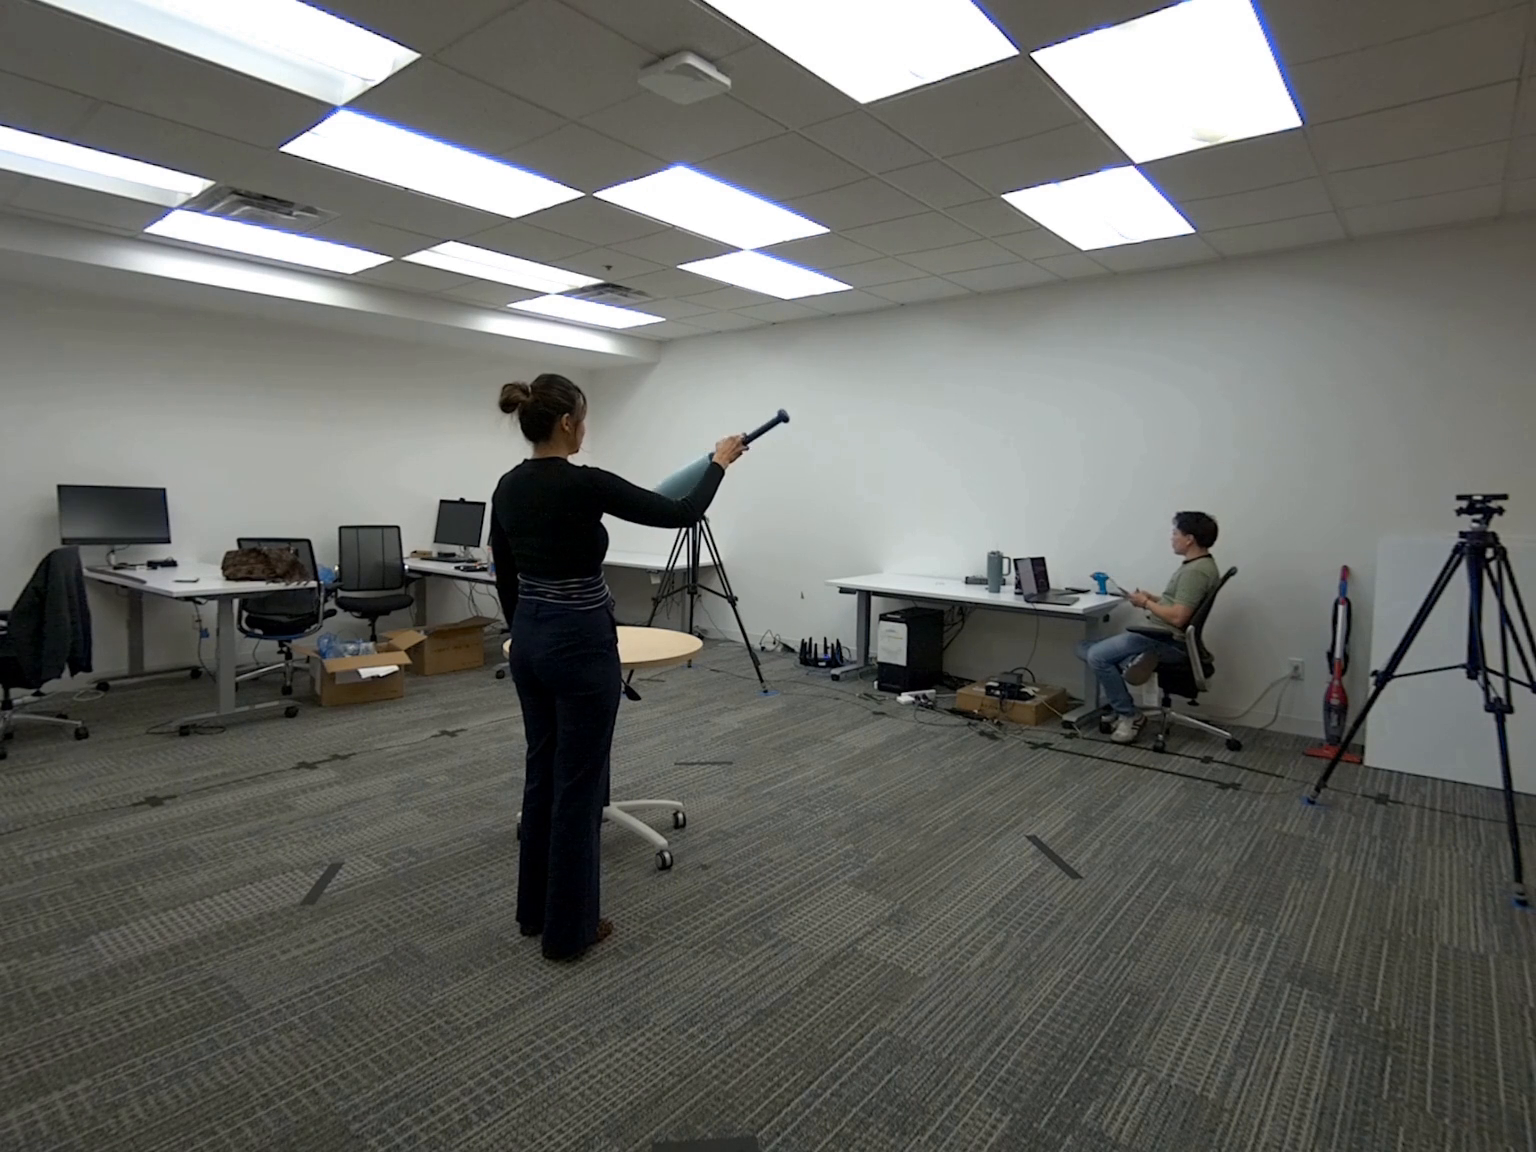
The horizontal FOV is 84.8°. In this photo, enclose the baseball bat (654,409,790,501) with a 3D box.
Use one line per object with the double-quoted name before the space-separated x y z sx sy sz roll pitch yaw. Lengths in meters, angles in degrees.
"baseball bat" -0.167 -0.390 2.805 0.547 0.090 0.087 -31 -6 18
